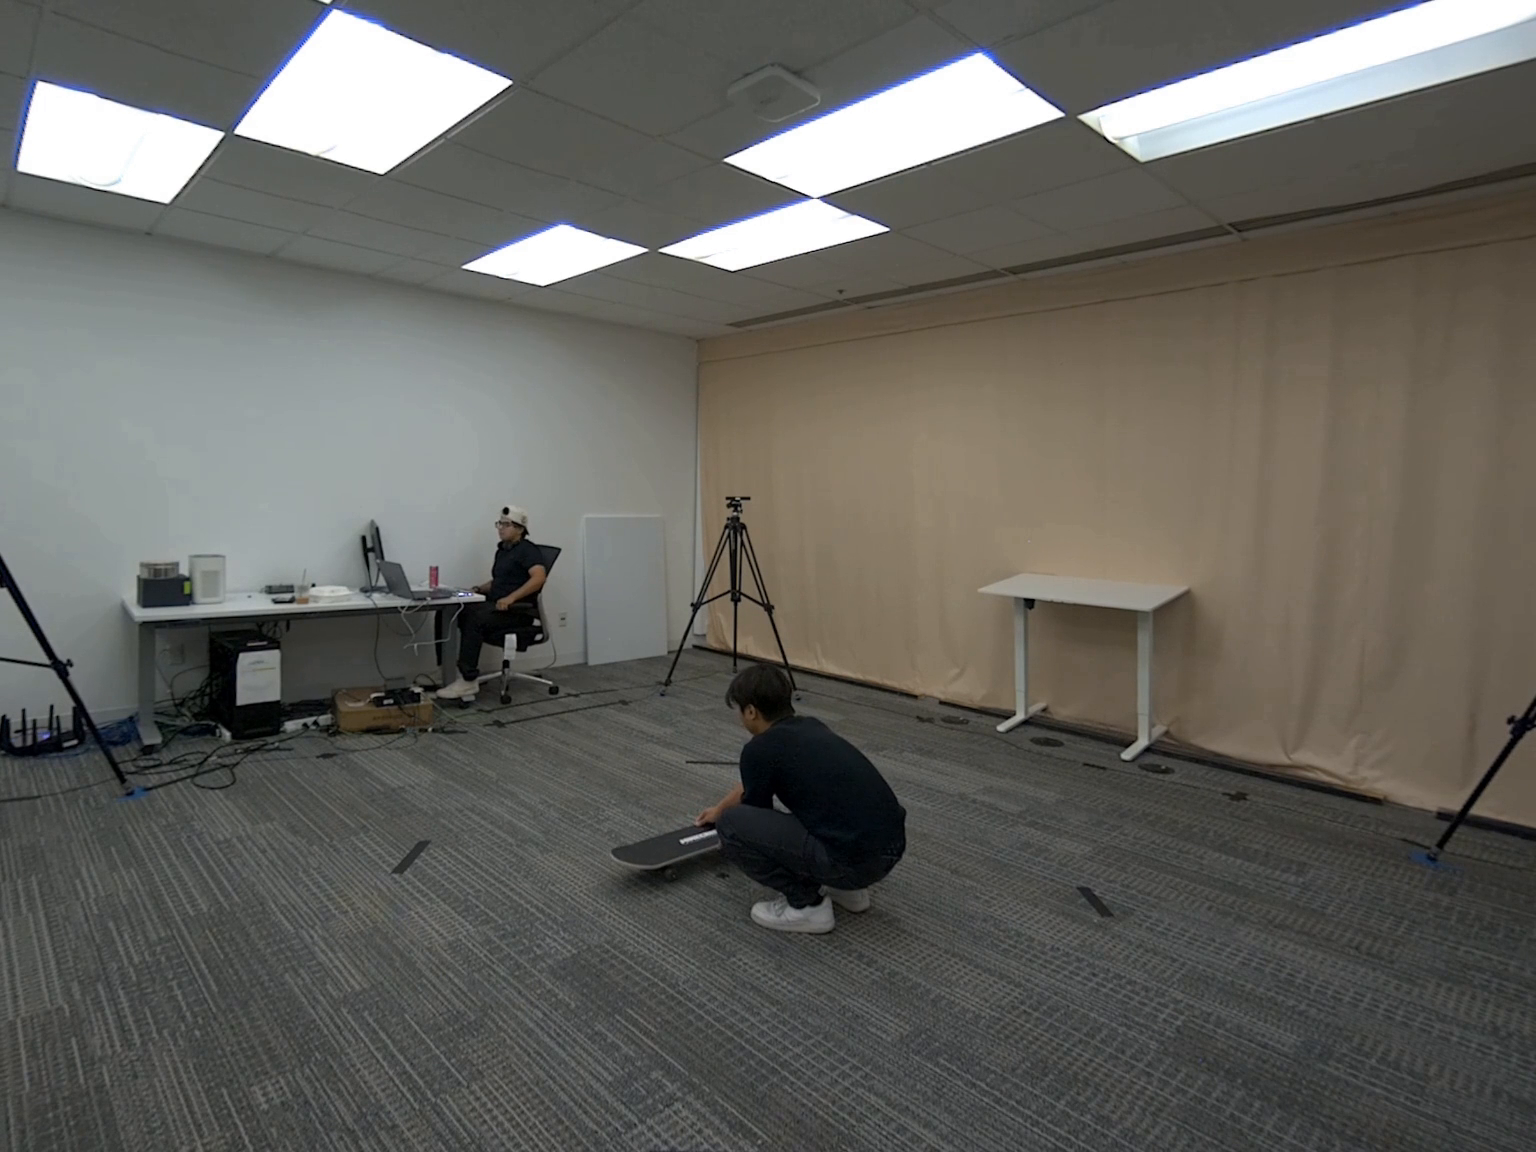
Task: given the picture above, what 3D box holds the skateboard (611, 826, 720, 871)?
[{"bbox_3d":[-0.259,1.025,3.228,0.768,0.110,0.198,-3,8,-41],"label":"skateboard"}]
